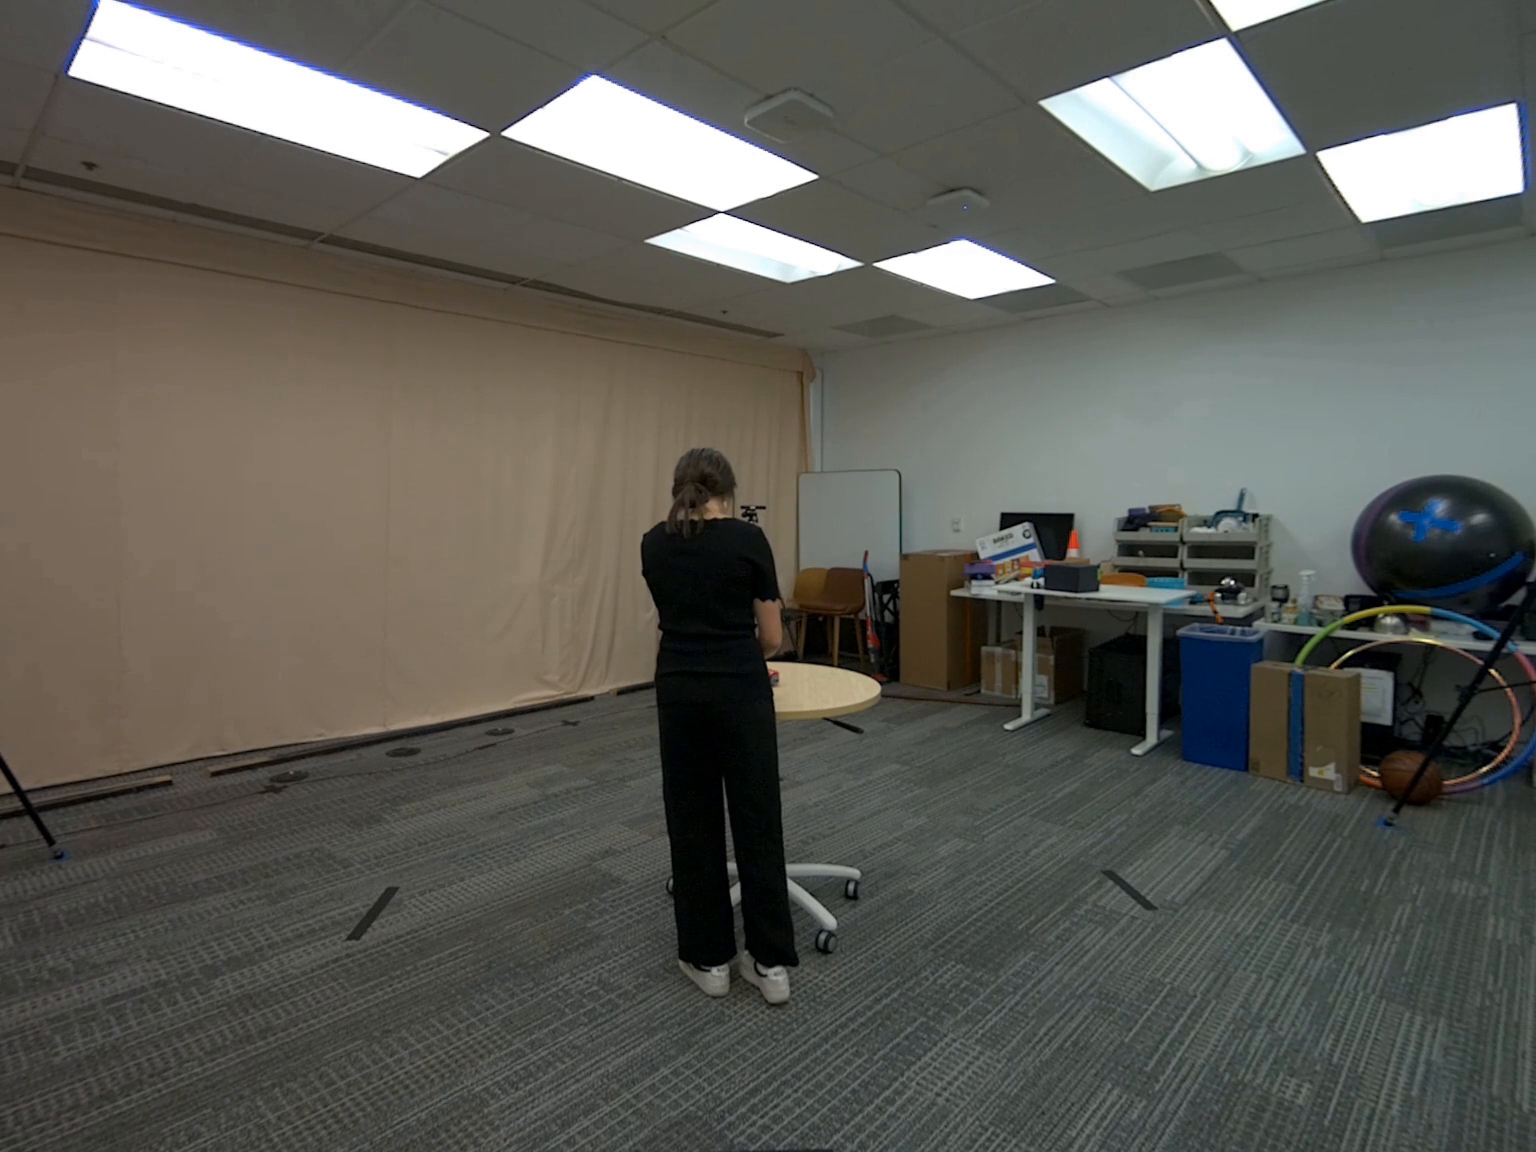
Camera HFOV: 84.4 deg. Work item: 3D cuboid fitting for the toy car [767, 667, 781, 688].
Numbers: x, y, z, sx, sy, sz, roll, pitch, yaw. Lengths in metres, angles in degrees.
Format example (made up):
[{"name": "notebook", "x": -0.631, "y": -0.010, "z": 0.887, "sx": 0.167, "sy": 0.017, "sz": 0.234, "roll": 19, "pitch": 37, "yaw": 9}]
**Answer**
[{"name": "toy car", "x": -0.077, "y": 0.343, "z": 2.813, "sx": 0.246, "sy": 0.083, "sz": 0.135, "roll": 11, "pitch": -2, "yaw": -40}]
